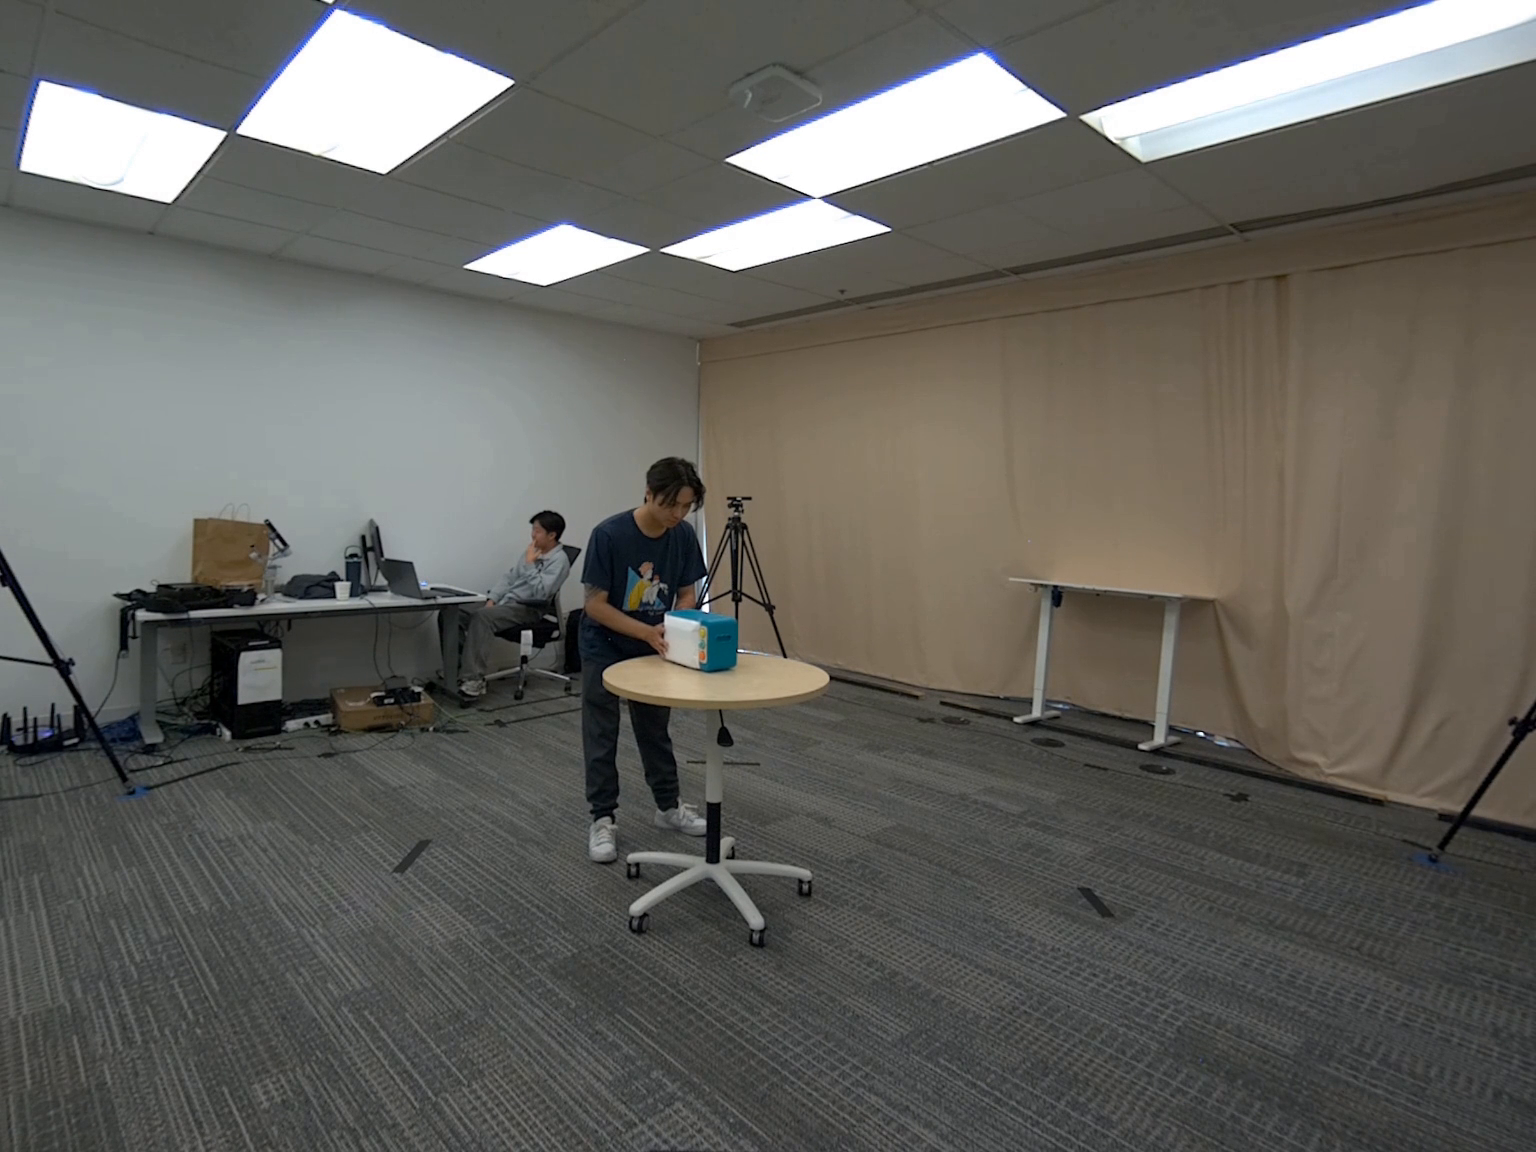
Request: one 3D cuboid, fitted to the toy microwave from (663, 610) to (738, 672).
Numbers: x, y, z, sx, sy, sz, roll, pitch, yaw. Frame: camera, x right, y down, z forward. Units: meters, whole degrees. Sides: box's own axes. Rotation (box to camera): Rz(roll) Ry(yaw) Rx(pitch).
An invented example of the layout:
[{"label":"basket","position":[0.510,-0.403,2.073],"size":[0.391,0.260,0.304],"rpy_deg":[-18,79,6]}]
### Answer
[{"label":"toy microwave","position":[-0.254,0.228,2.977],"size":[0.149,0.184,0.293],"rpy_deg":[-2,5,-41]}]
